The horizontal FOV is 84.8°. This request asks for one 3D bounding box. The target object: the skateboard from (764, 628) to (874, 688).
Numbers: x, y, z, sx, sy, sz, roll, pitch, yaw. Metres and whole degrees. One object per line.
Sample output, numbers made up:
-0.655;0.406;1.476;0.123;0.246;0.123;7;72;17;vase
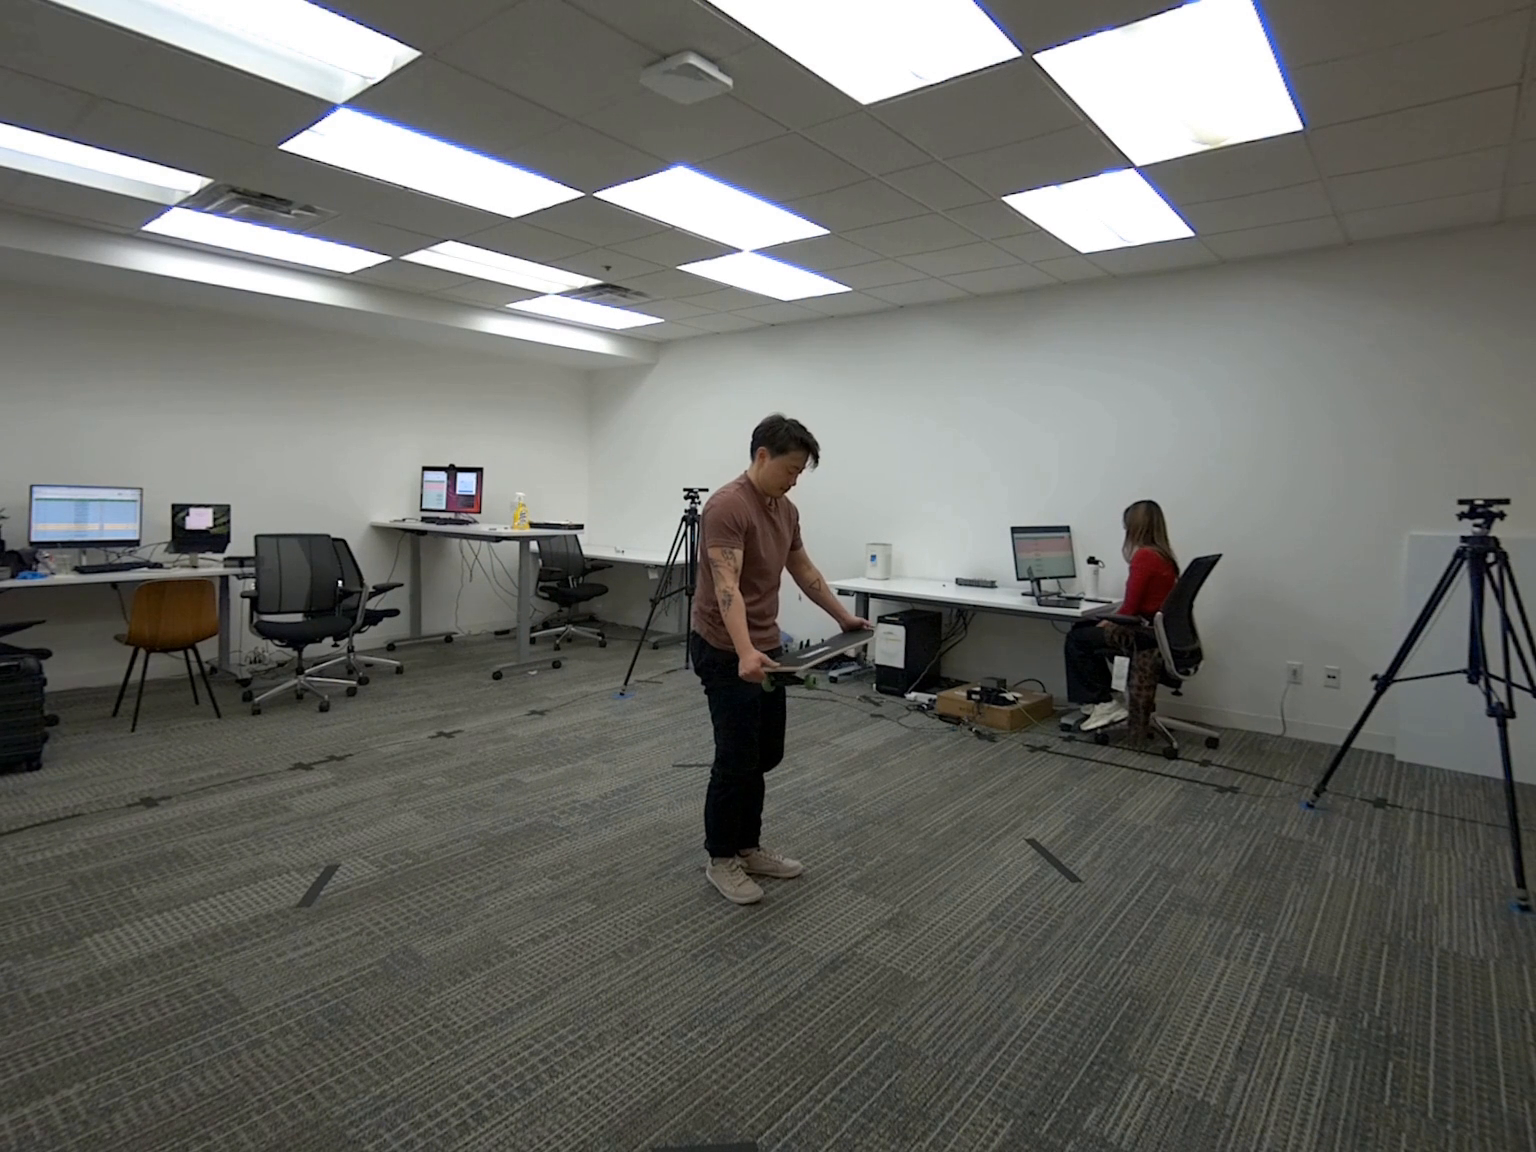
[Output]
0.162;0.292;2.886;0.199;0.110;0.765;-4;3;32;skateboard
